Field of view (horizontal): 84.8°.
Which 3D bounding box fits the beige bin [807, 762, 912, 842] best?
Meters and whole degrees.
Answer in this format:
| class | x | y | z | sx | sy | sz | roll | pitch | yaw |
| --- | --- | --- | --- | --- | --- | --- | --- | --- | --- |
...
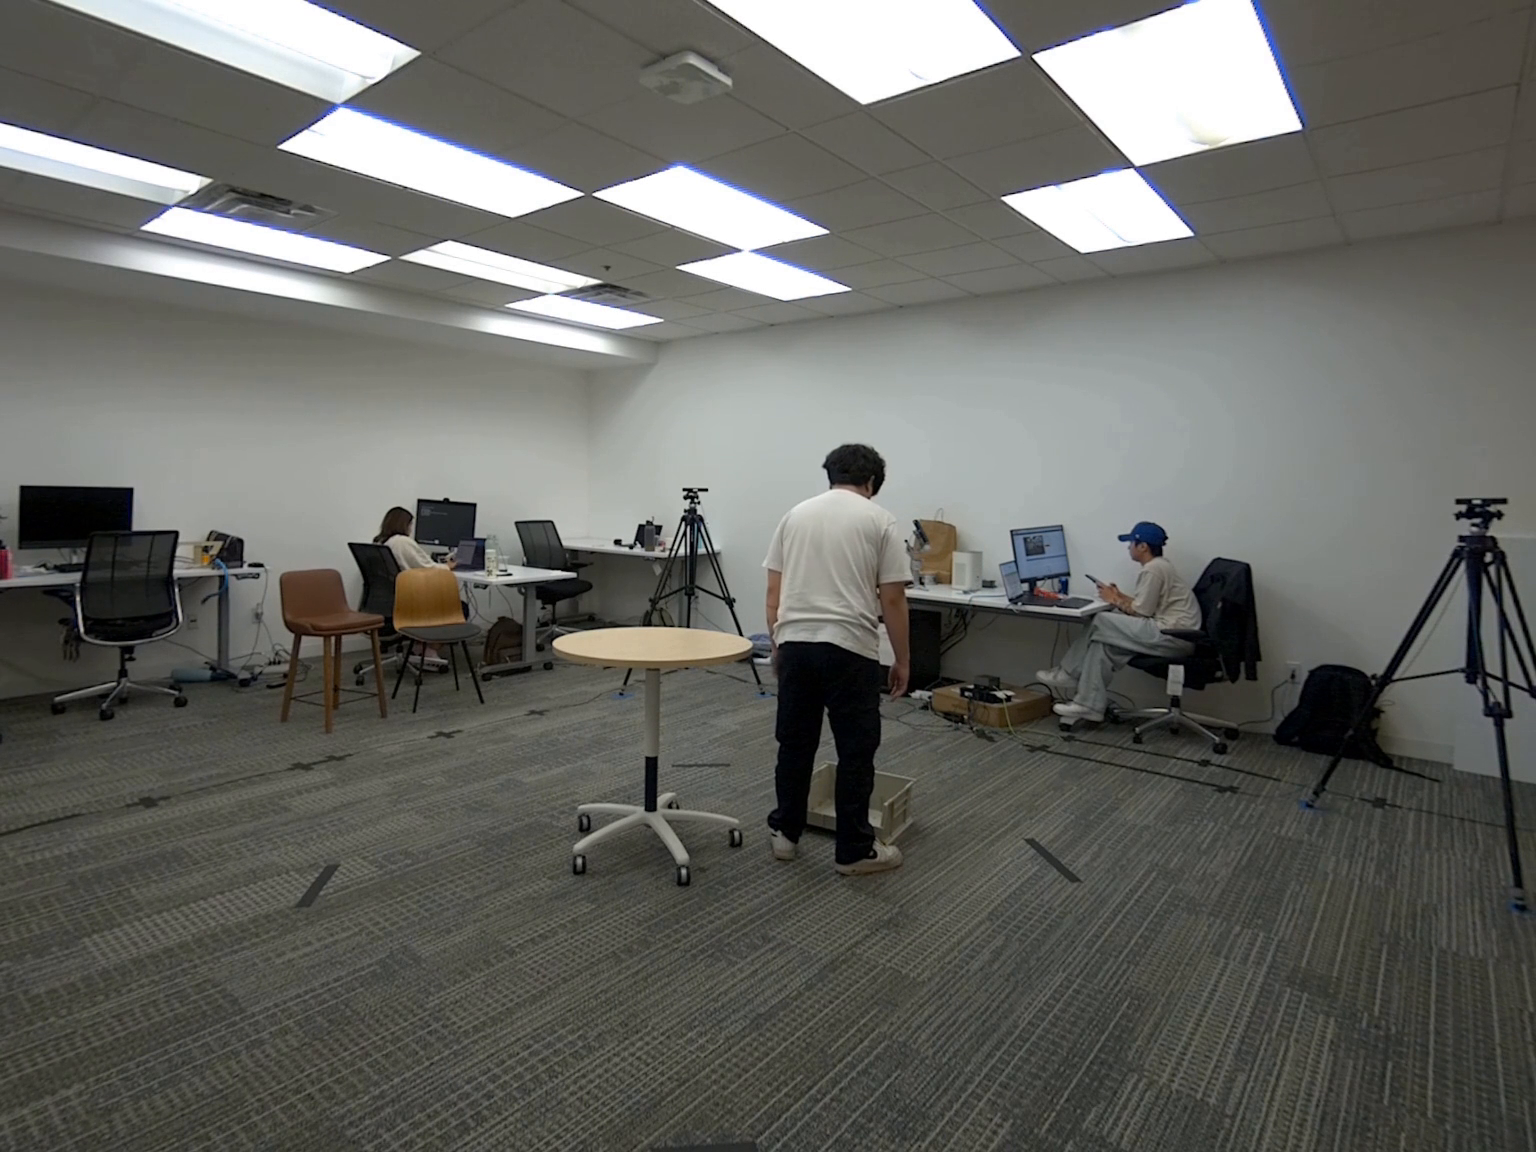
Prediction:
| class | x | y | z | sx | sy | sz | roll | pitch | yaw |
| --- | --- | --- | --- | --- | --- | --- | --- | --- | --- |
| beige bin | 0.343 | 0.944 | 3.558 | 0.435 | 0.188 | 0.368 | 4 | 5 | 30 |
